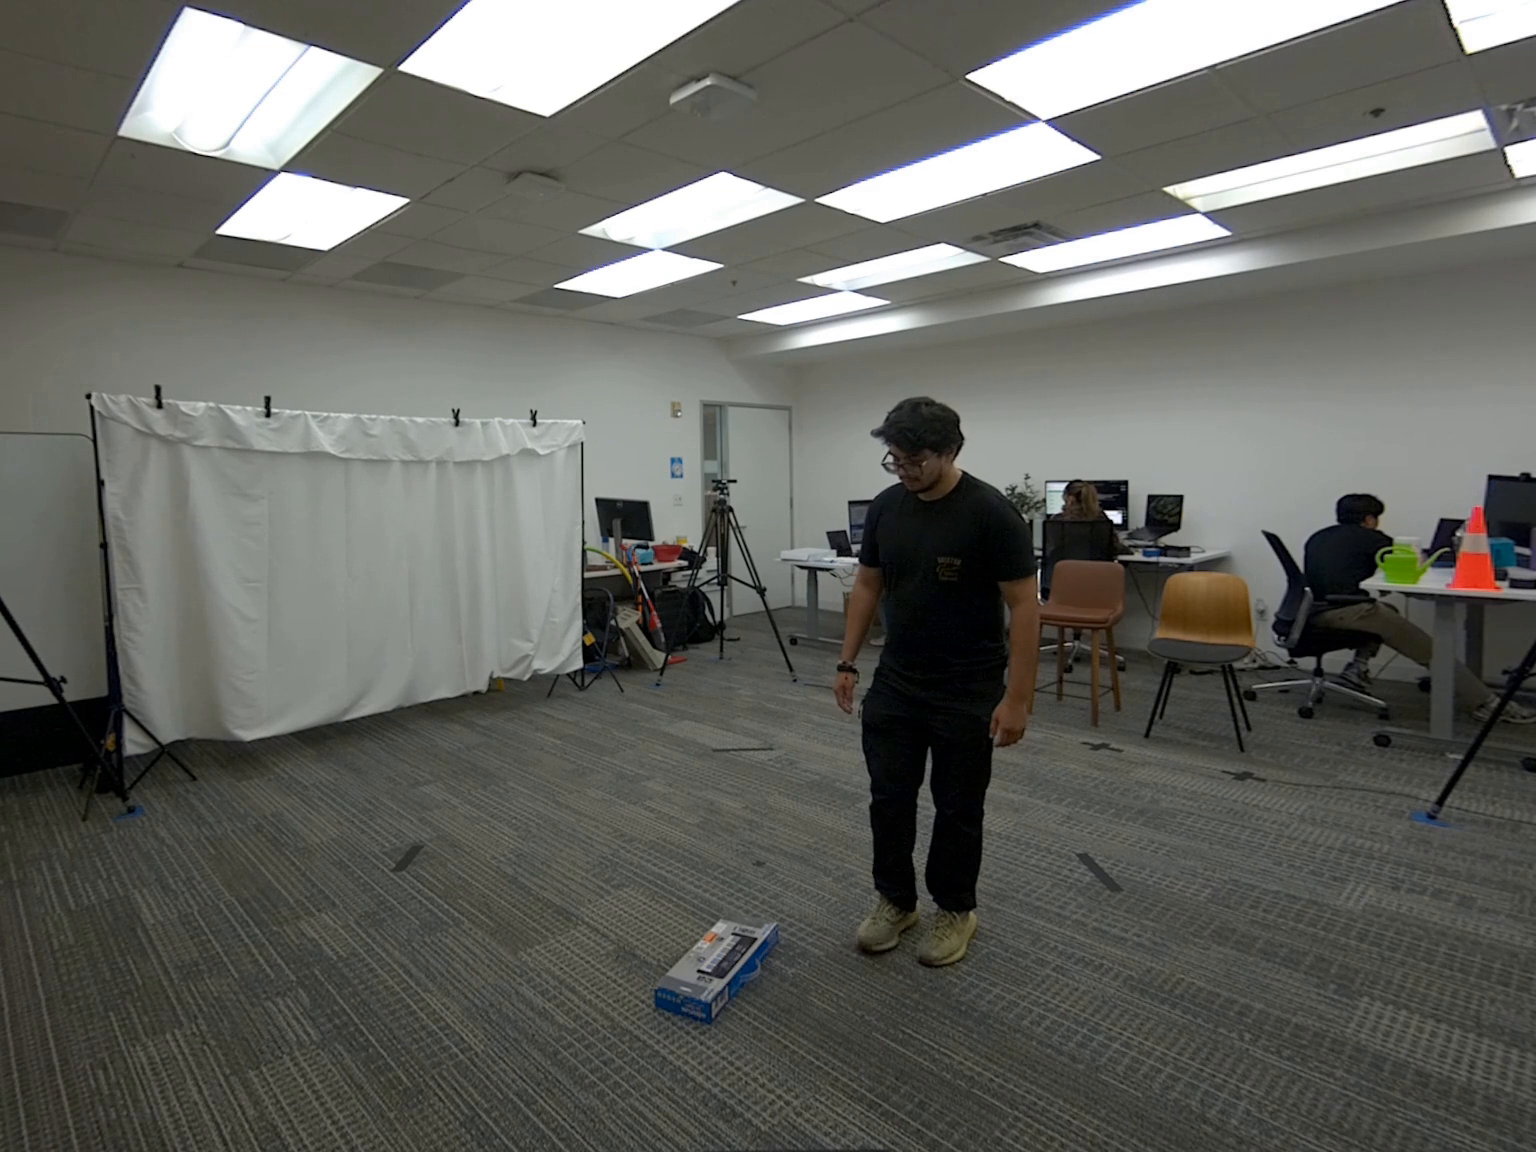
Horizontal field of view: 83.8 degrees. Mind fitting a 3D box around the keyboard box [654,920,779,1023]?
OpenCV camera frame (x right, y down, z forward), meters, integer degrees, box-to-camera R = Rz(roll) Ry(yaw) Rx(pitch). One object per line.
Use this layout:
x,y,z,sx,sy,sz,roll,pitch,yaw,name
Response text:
-0.132,1.099,2.427,0.180,0.059,0.428,1,7,25,keyboard box
